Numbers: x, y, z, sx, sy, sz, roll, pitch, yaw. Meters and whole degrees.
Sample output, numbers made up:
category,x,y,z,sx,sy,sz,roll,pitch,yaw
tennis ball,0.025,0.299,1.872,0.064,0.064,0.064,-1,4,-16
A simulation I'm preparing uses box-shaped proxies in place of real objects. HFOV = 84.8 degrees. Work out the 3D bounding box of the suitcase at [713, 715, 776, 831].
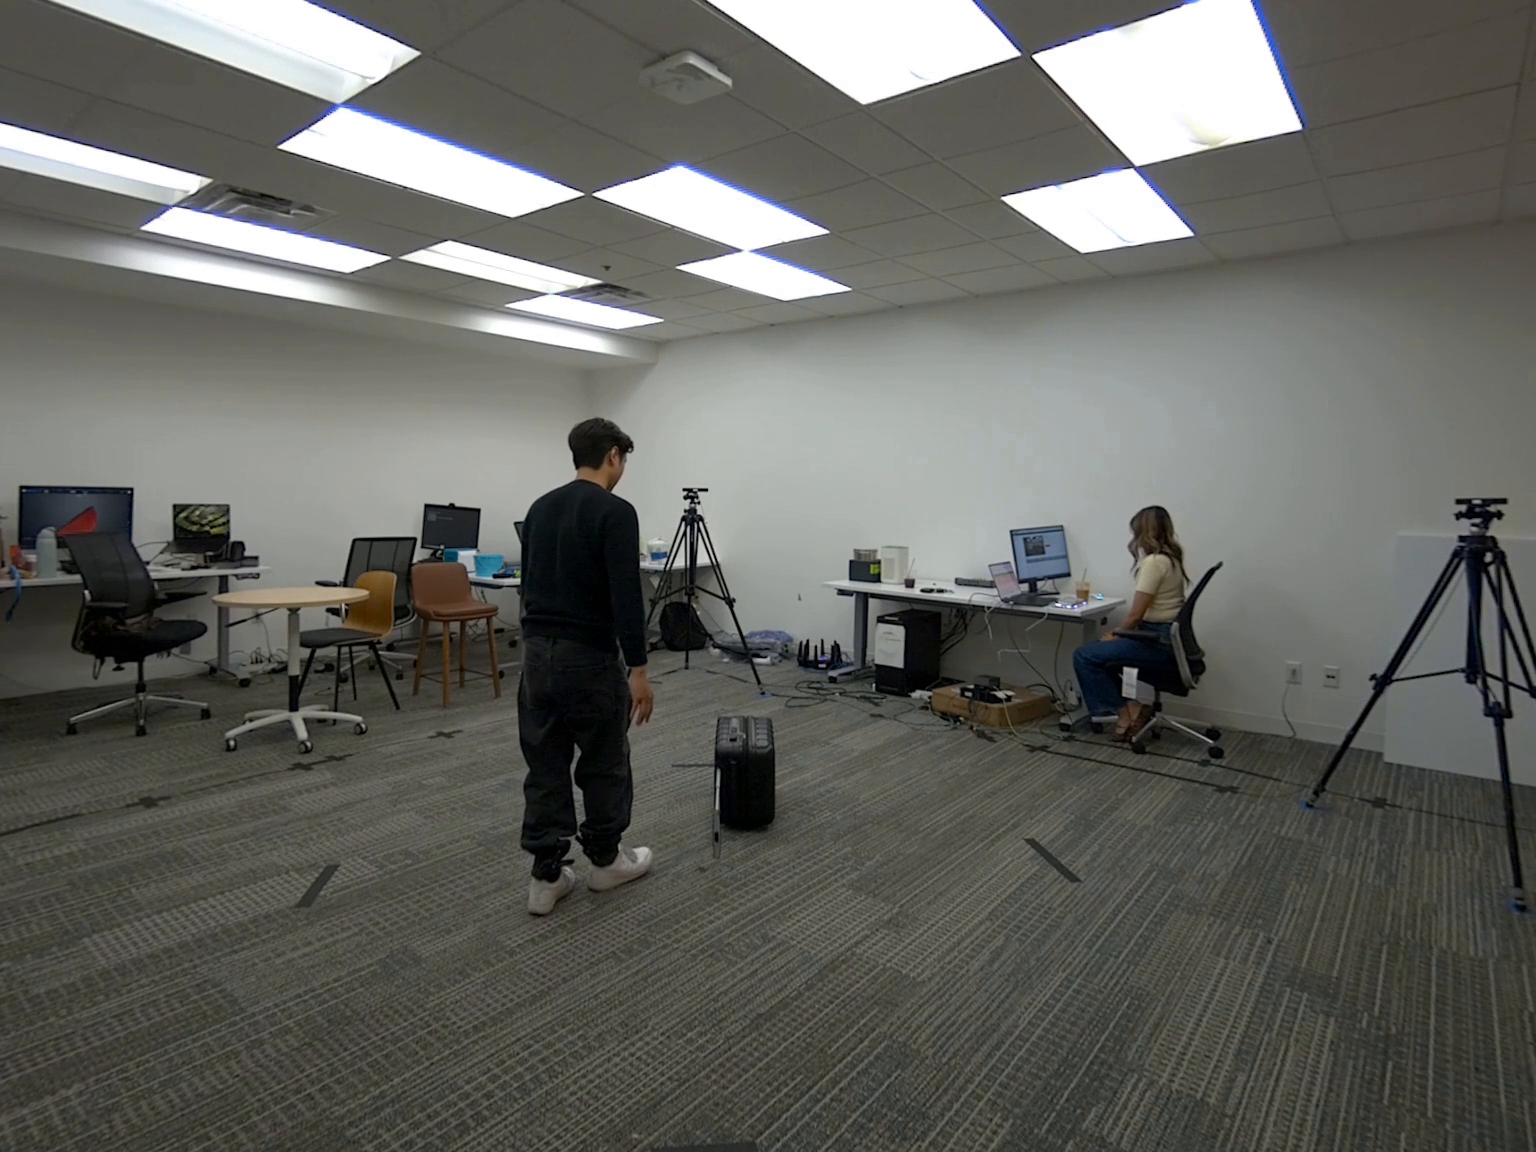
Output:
category,x,y,z,sx,sy,sz,roll,pitch,yaw
suitcase,-0.098,0.846,3.479,0.257,0.382,0.984,0,6,-3
